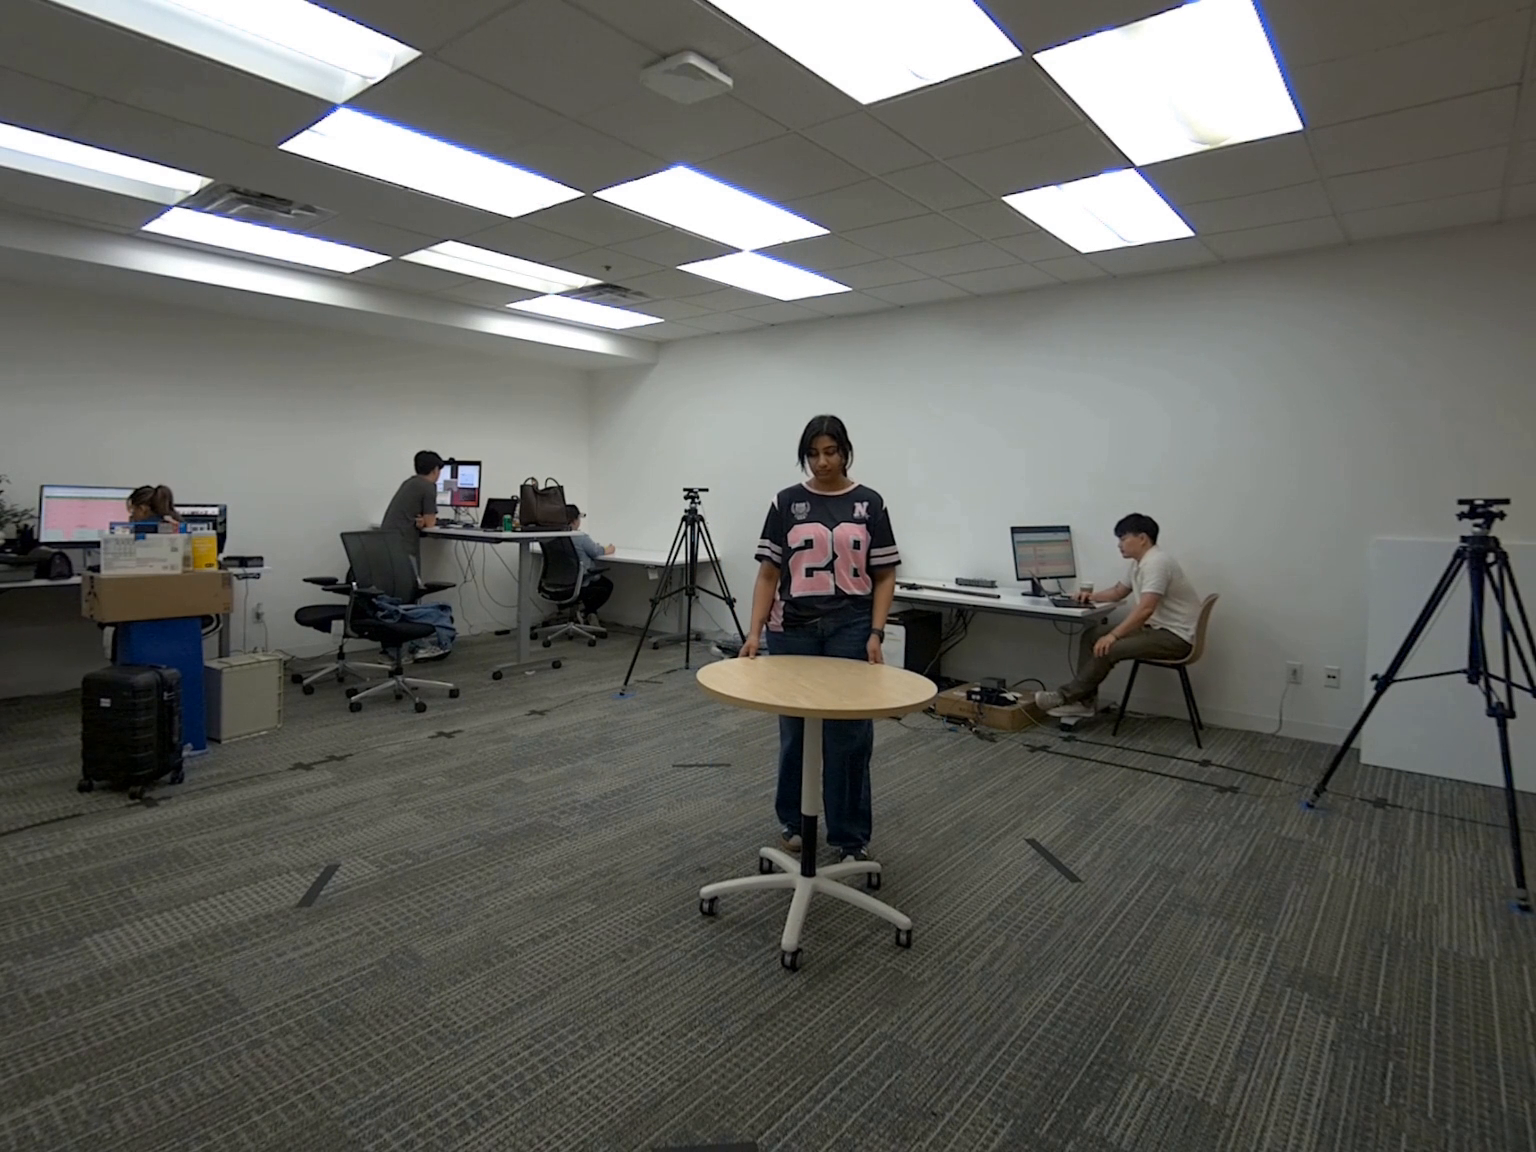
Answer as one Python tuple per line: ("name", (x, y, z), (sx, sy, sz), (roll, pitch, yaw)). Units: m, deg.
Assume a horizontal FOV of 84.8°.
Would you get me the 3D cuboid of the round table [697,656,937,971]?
("round table", (0.127, 0.721, 2.759), (0.763, 0.792, 0.767), (2, 4, -2))
